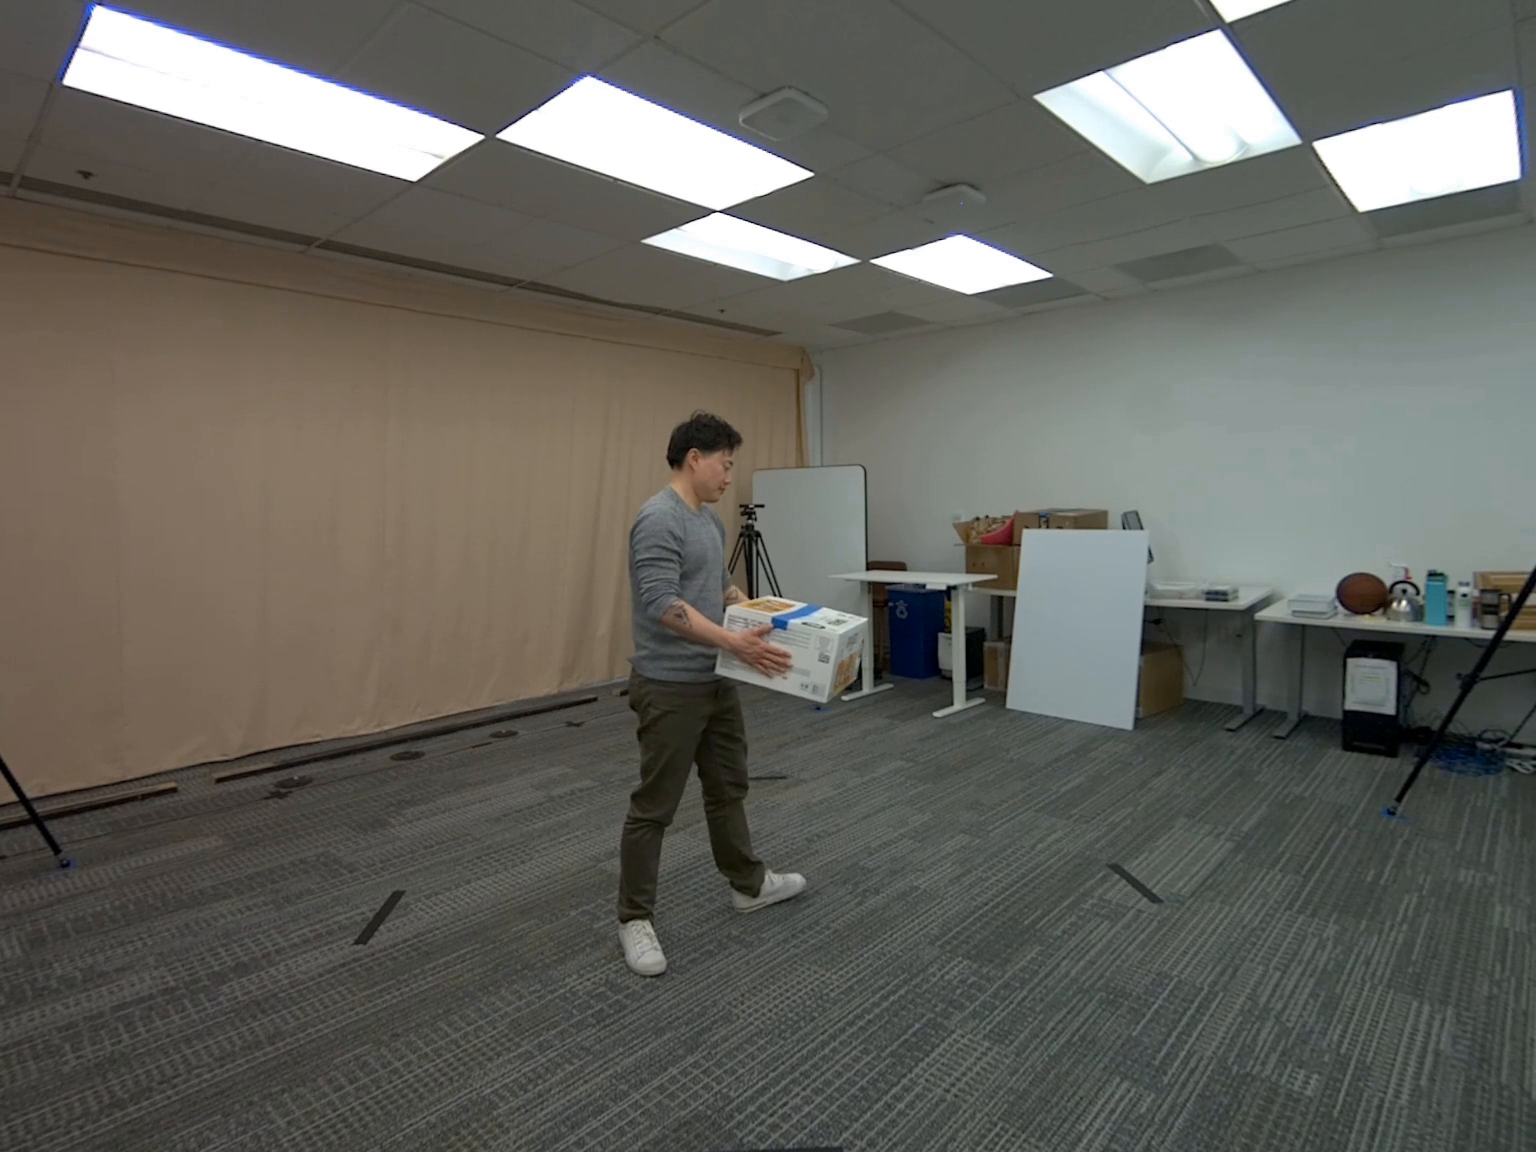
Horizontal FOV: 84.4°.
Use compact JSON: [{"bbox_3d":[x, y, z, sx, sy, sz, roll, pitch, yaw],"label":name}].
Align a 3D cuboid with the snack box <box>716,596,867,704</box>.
[{"bbox_3d":[0.085,0.208,2.549,0.348,0.205,0.397,12,7,19],"label":"snack box"}]
